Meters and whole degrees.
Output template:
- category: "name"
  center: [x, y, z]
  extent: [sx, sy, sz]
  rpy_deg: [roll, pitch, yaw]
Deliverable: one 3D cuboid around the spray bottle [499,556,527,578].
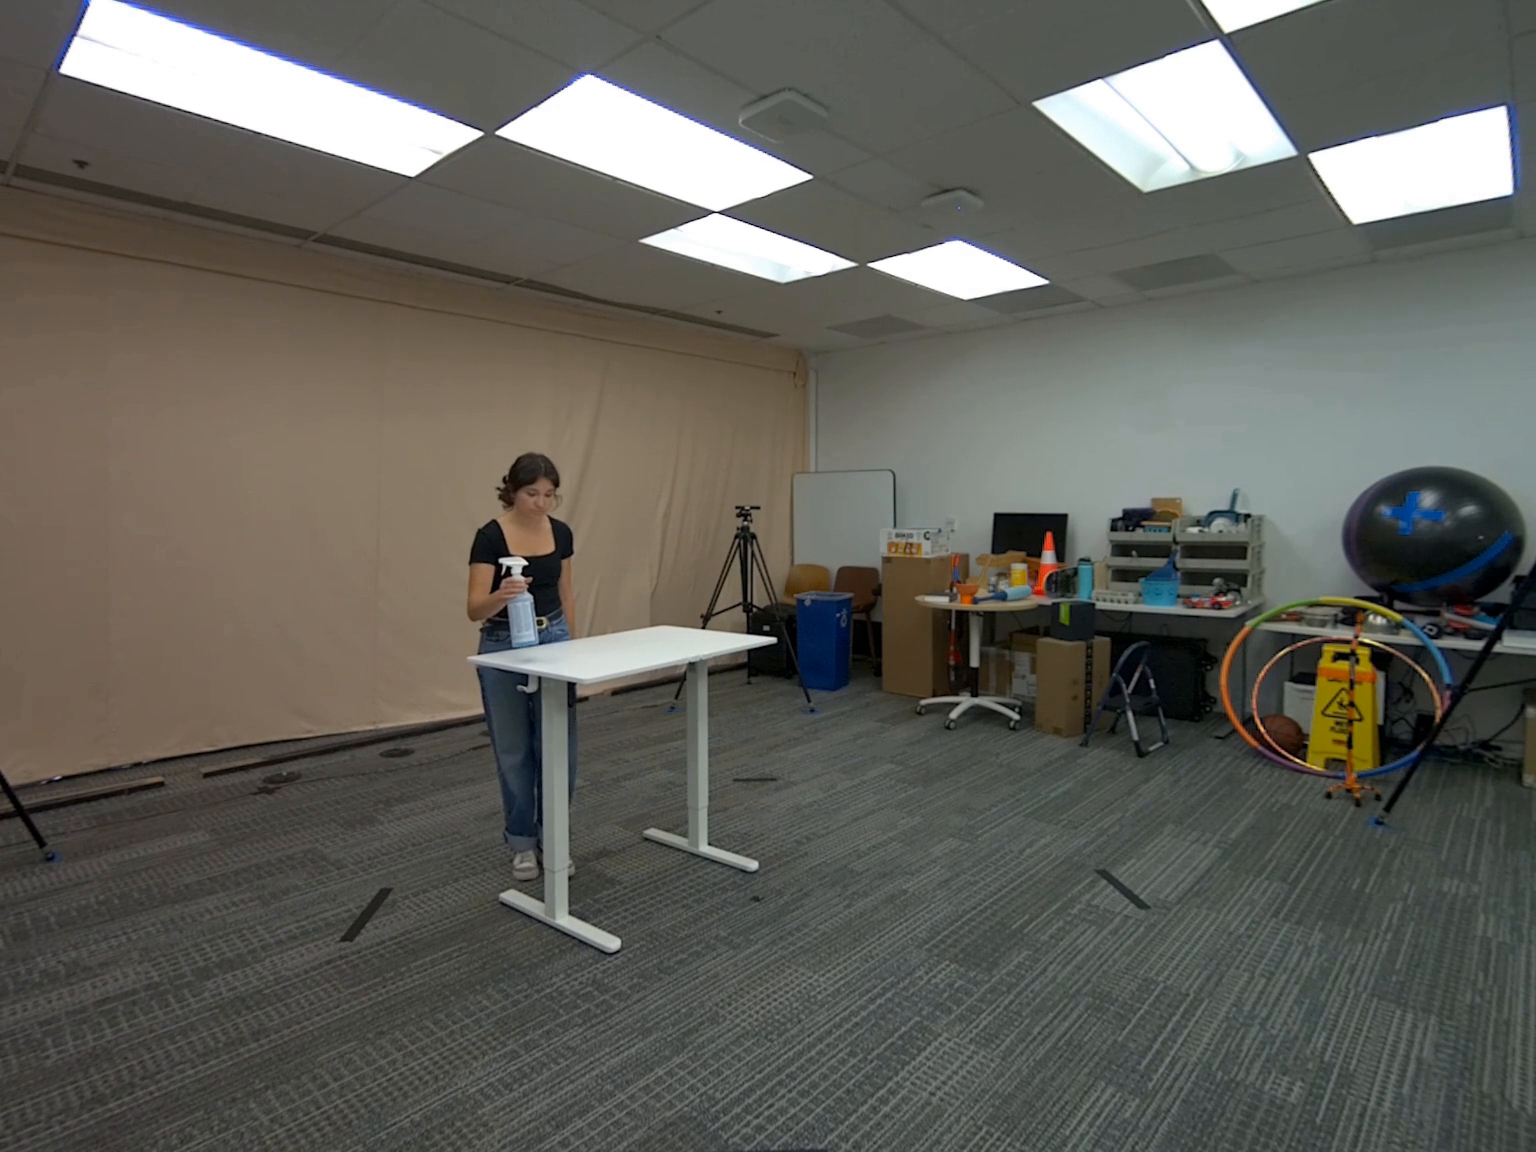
- category: "spray bottle"
  center: [-0.822, 0.085, 2.782]
  extent: [0.092, 0.298, 0.085]
  rpy_deg: [-8, -1, 21]
